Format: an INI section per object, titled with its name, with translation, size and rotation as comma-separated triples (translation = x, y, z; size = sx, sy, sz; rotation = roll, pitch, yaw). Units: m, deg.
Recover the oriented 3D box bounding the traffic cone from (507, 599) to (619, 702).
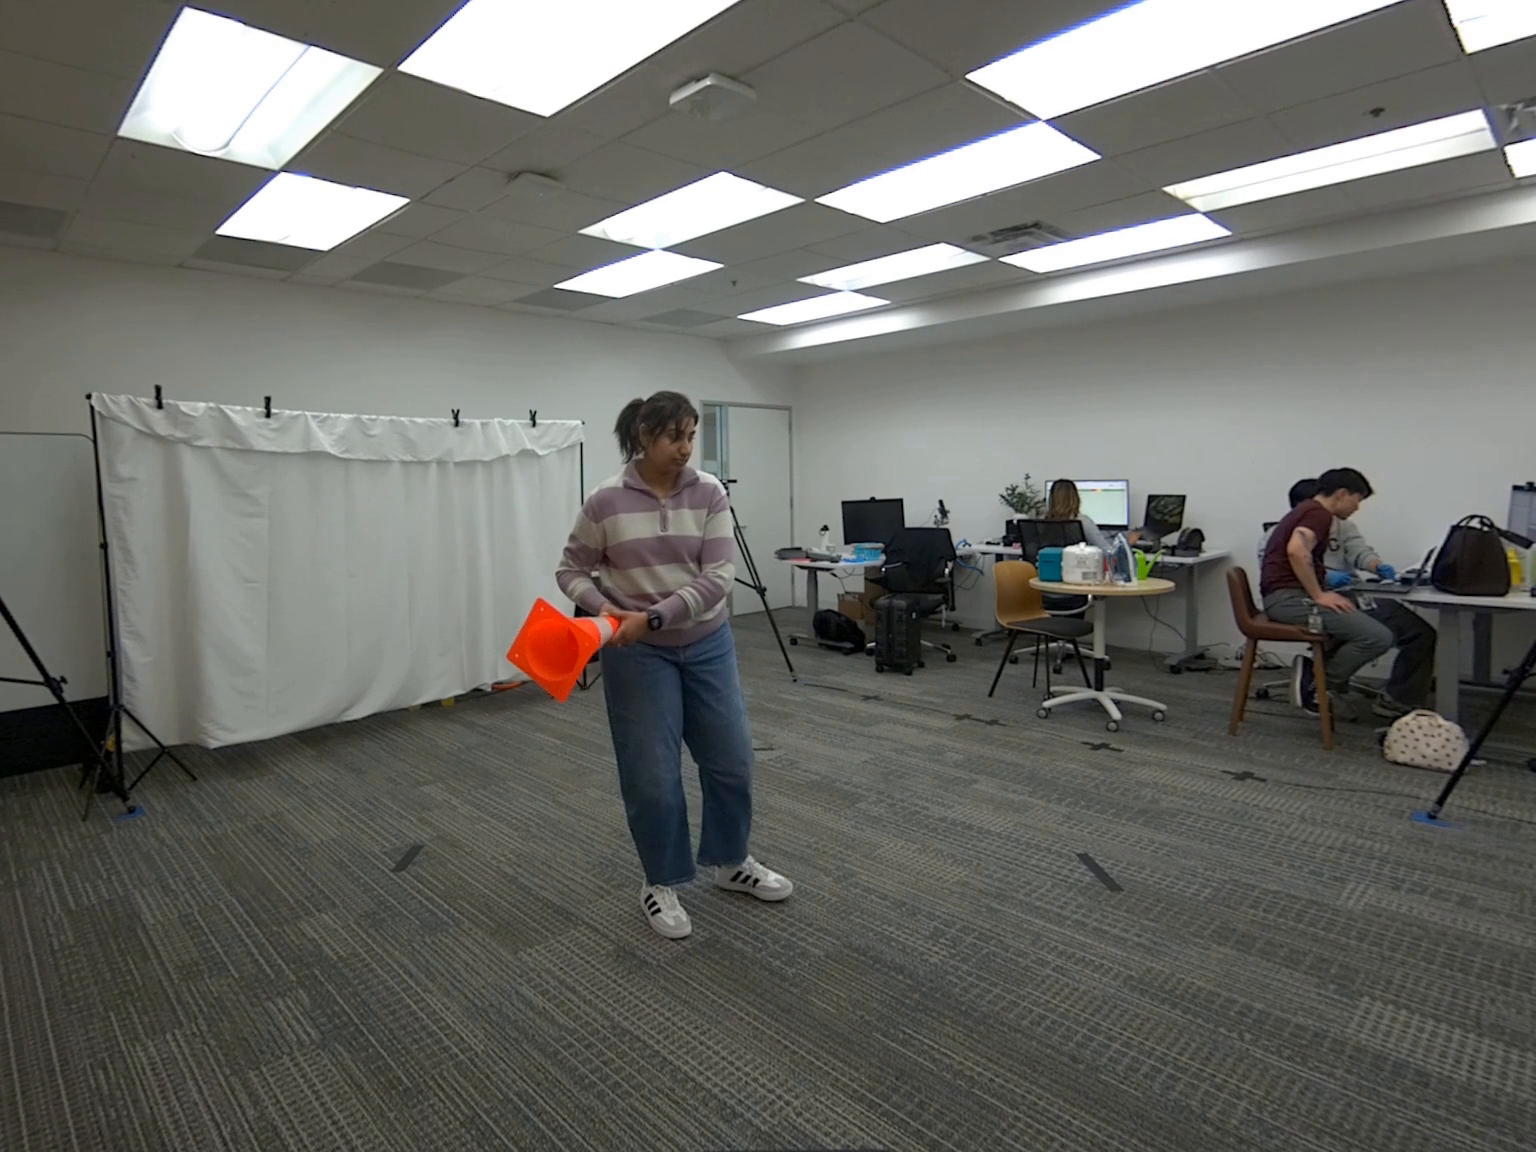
[traffic cone]
translation = -0.466, 0.174, 2.310
size = 0.209, 0.202, 0.378
rotation = 35, 17, 13
